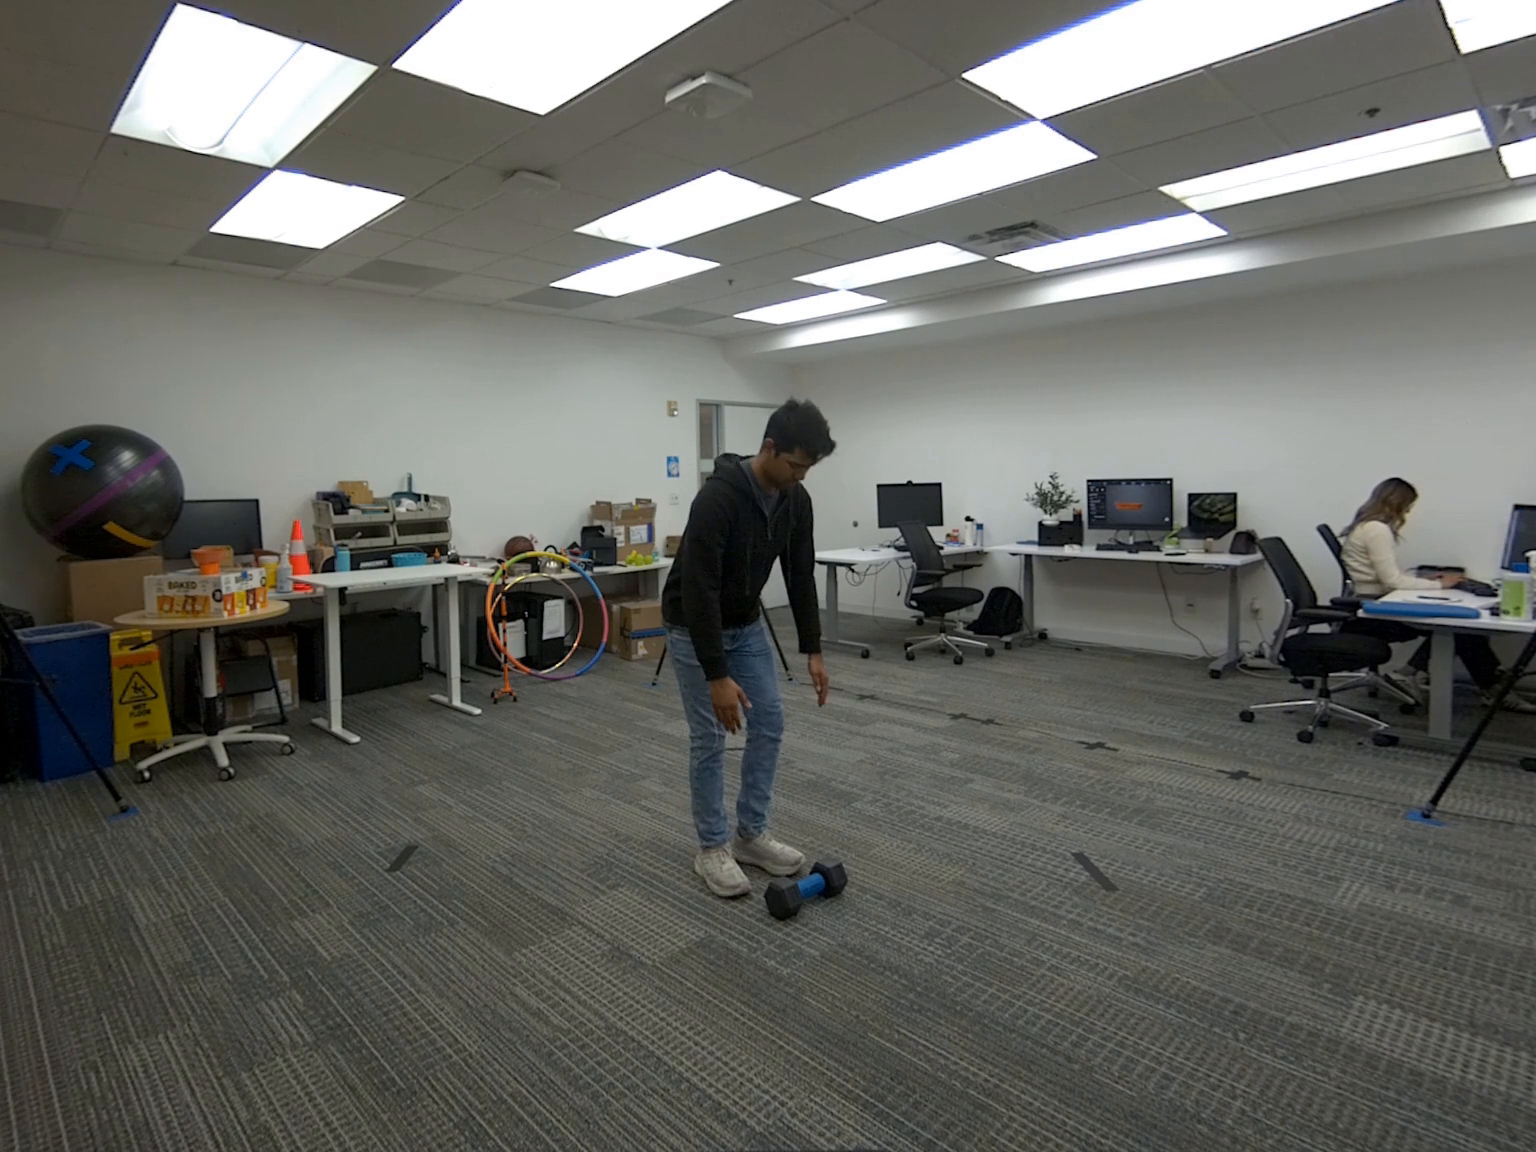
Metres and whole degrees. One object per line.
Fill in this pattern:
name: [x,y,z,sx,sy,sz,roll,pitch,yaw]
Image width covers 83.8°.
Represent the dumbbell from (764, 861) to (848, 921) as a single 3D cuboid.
dumbbell: [0.132,1.022,2.801,0.286,0.121,0.113,-7,38,-42]
